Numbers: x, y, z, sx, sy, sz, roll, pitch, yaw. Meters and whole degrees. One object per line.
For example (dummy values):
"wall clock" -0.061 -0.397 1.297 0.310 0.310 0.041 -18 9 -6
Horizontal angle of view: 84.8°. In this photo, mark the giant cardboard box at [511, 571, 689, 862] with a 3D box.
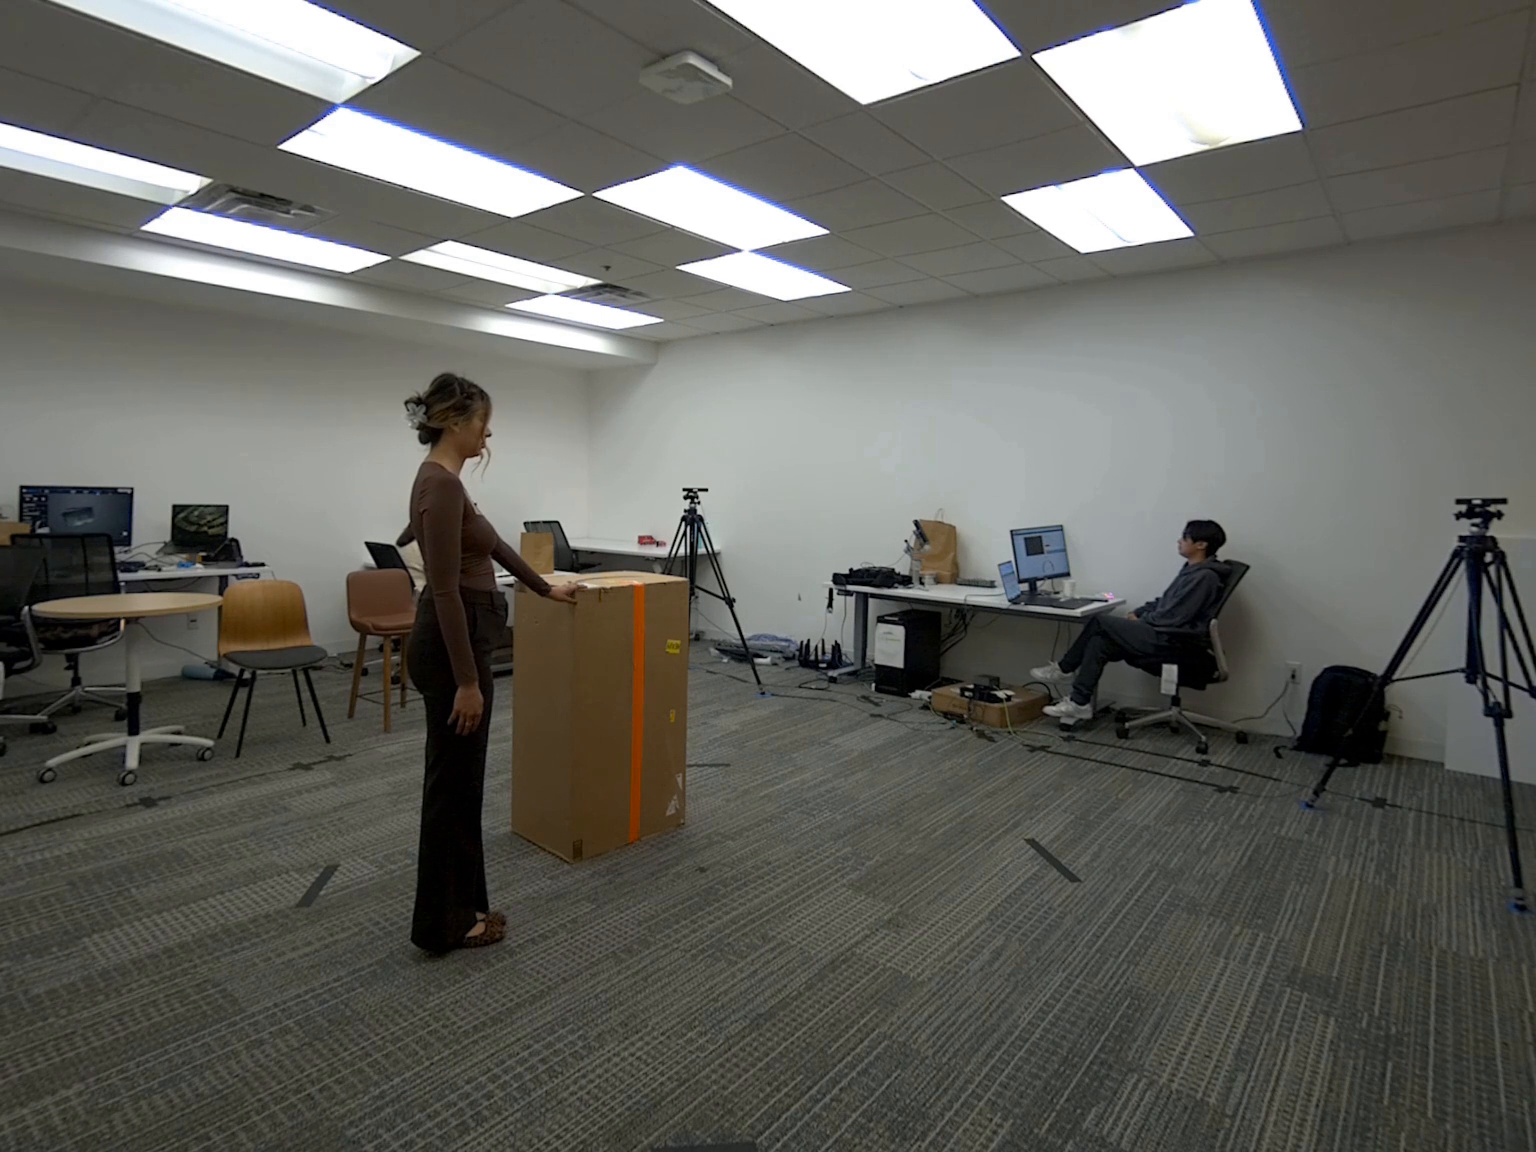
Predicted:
"giant cardboard box" -0.689 0.519 3.454 0.462 1.024 0.566 5 5 45
